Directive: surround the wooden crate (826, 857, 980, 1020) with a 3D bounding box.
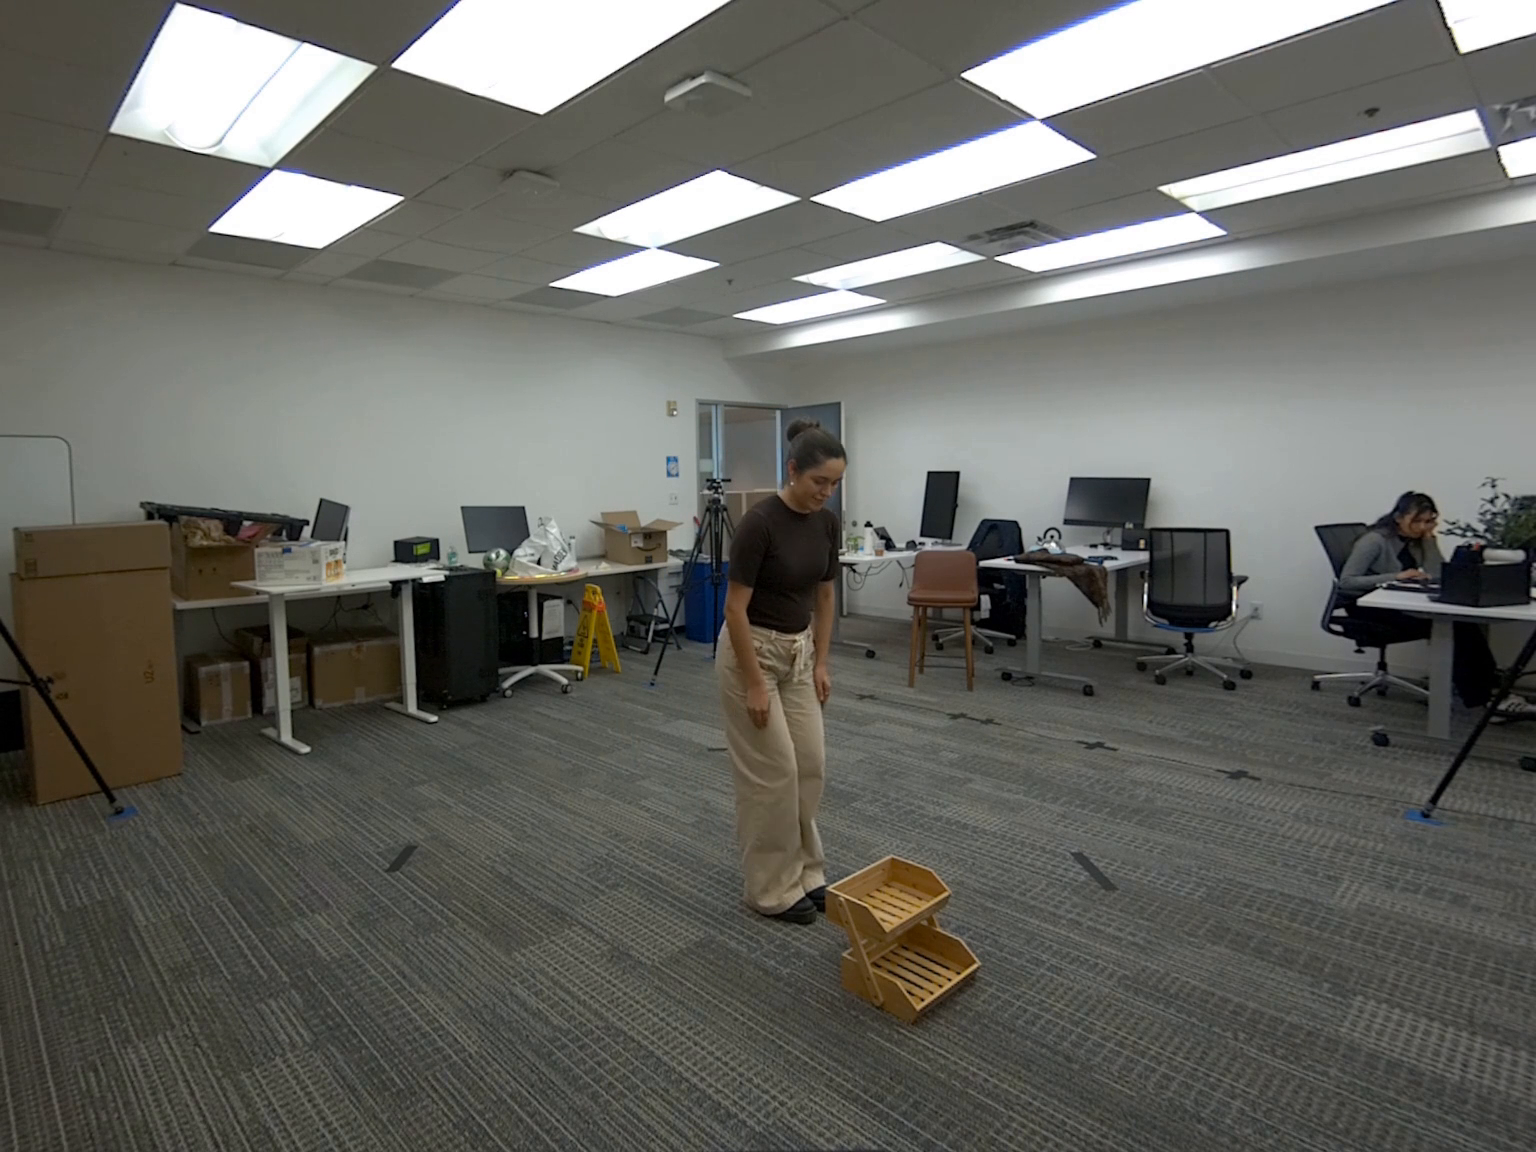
[{"bbox_3d":[0.384,0.992,2.363,0.316,0.272,0.311,-7,7,-44],"label":"wooden crate"}]
